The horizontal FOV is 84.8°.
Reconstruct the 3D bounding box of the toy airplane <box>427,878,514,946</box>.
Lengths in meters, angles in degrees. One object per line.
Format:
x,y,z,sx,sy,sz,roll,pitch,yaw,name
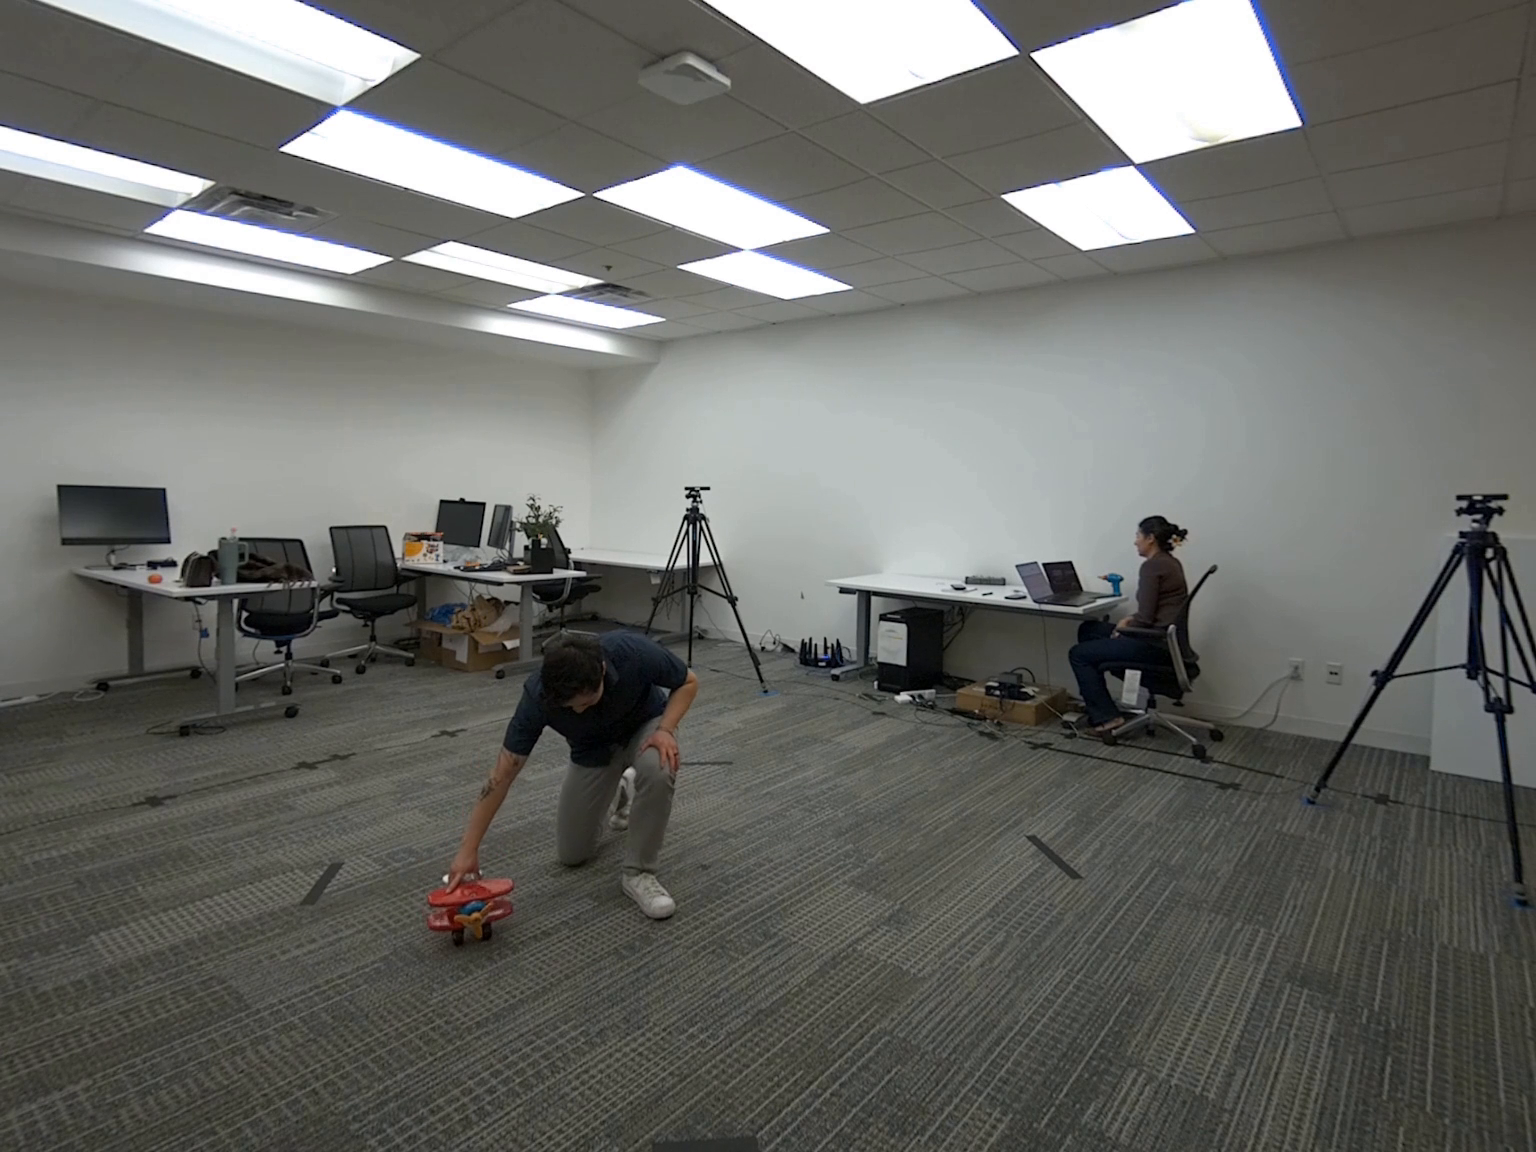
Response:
-0.956,1.008,2.626,0.268,0.154,0.246,26,28,28,toy airplane
